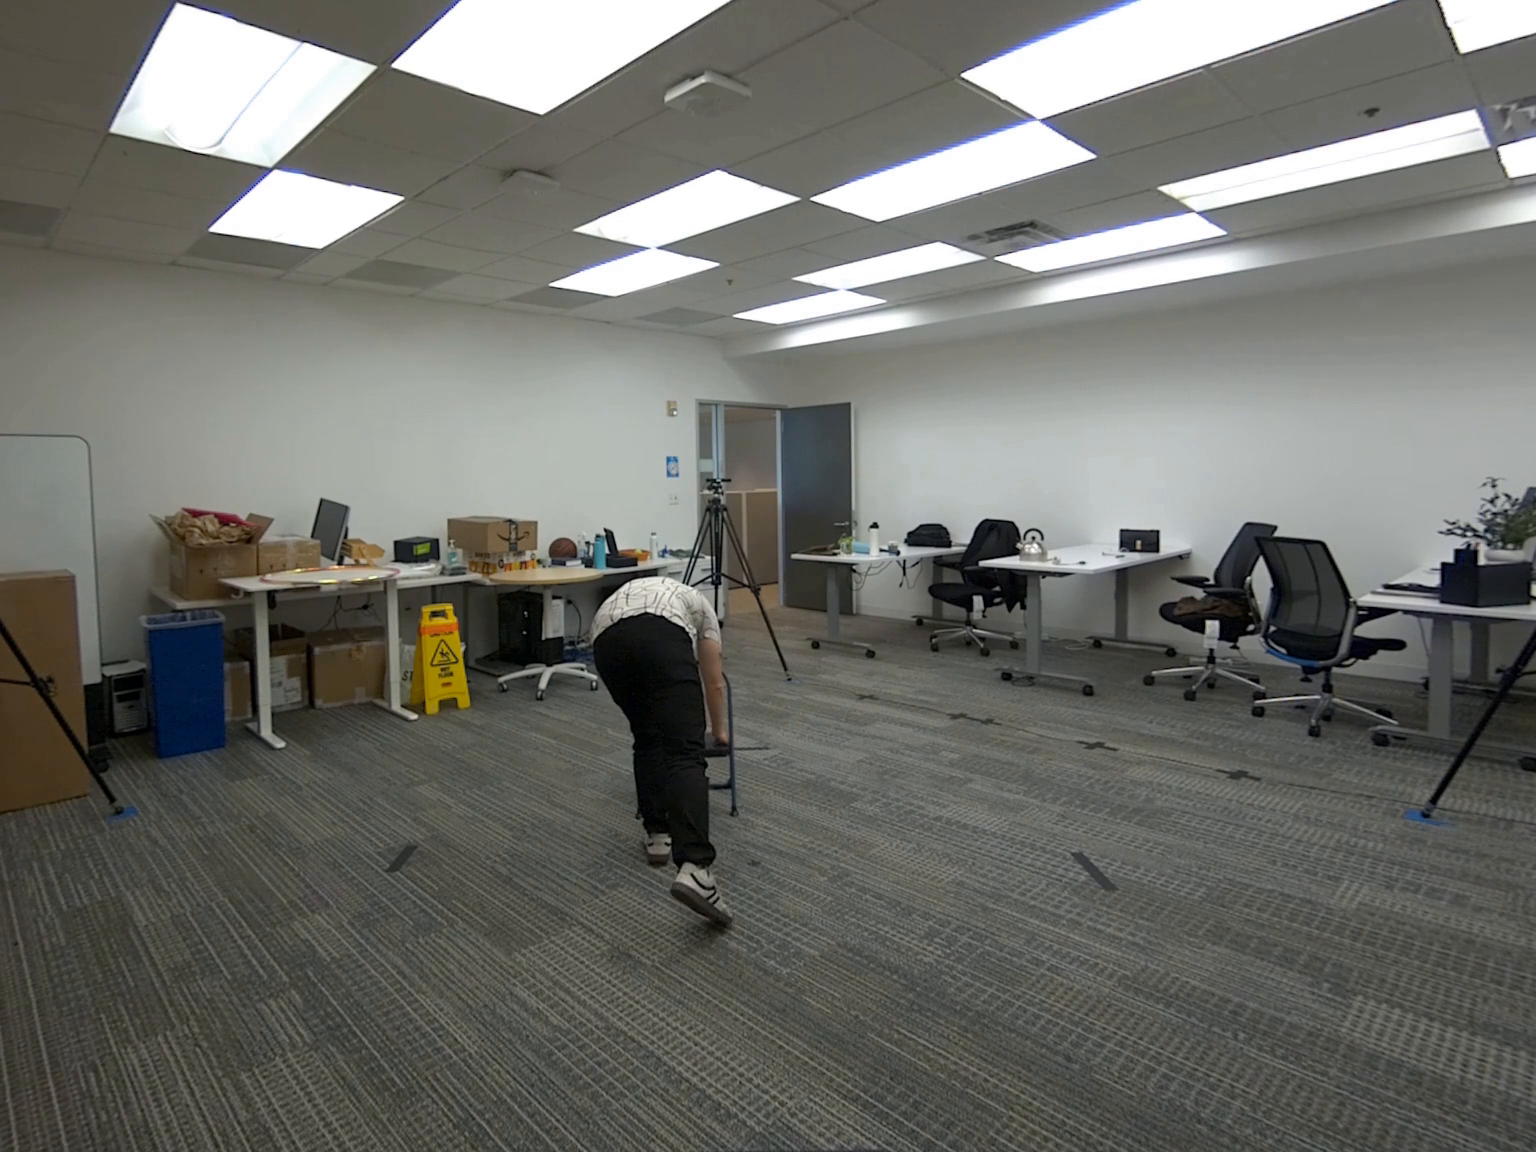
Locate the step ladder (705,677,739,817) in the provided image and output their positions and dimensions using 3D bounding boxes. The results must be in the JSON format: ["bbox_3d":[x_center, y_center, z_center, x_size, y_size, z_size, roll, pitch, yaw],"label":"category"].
[{"bbox_3d":[-0.351,0.682,3.699,0.430,0.604,0.351,-1,4,-3],"label":"step ladder"}]
